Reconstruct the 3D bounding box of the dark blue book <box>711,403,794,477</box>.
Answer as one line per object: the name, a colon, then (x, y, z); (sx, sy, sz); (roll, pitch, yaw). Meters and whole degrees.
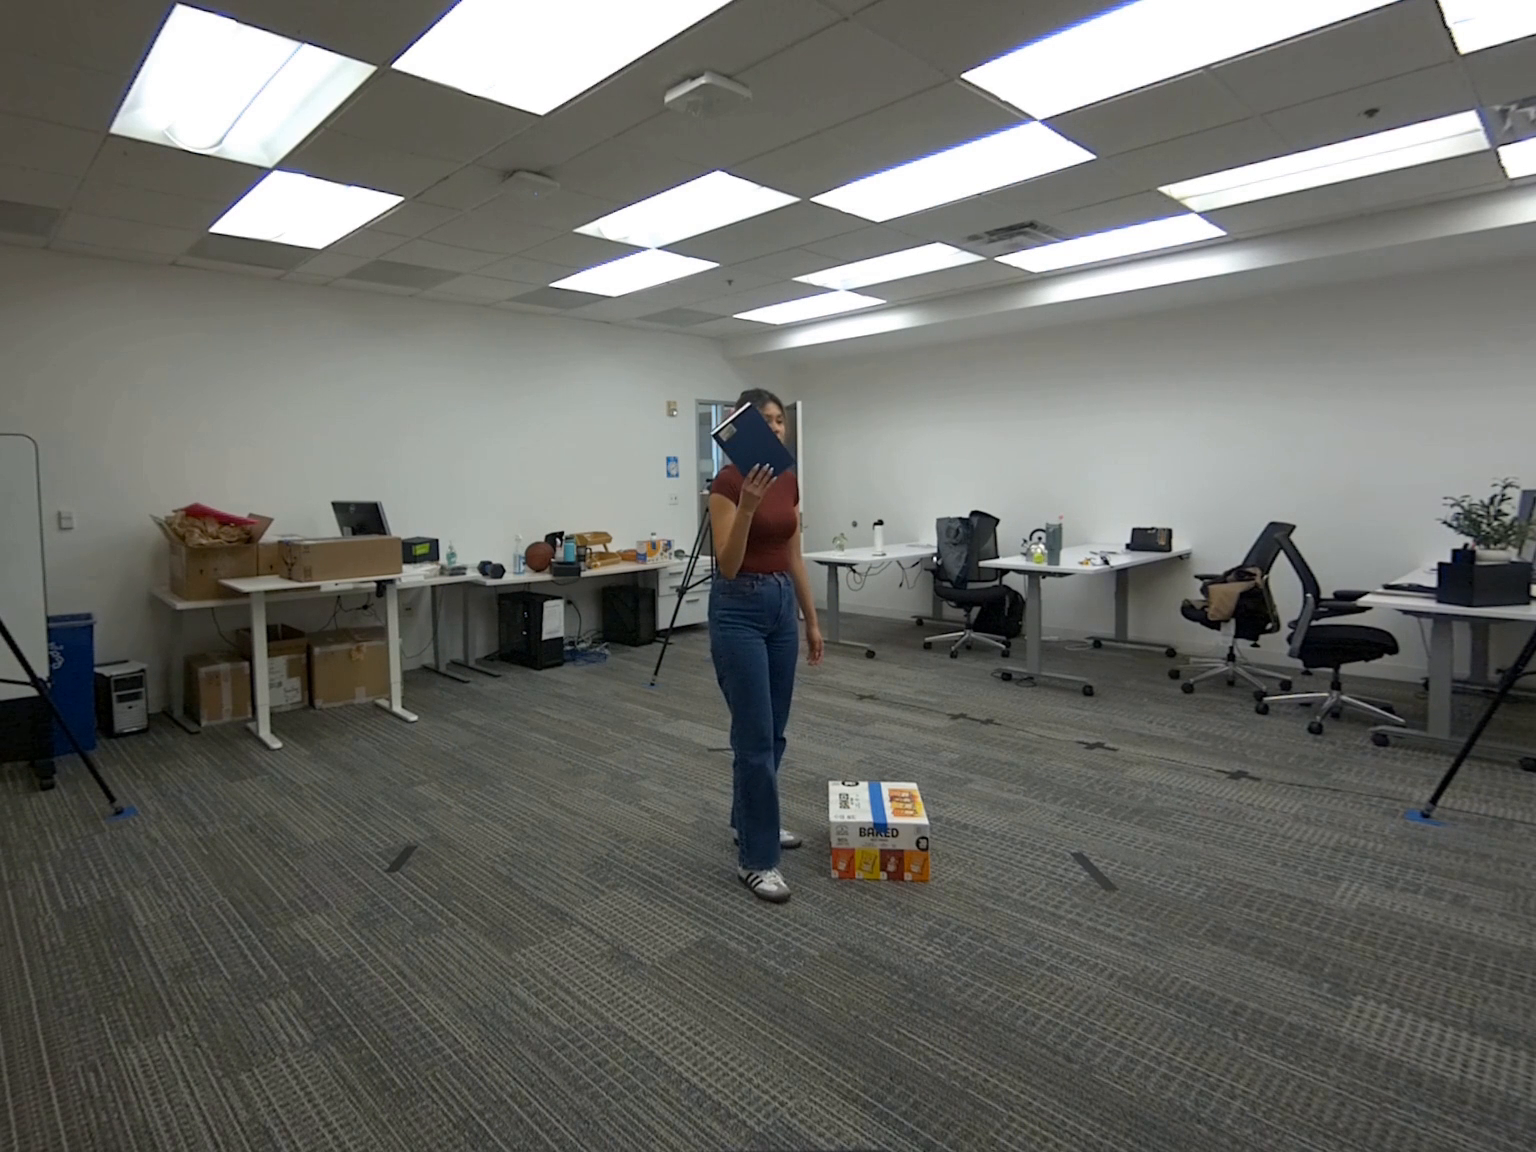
dark blue book: (-0.047, -0.406, 2.699); (0.163, 0.239, 0.046); (-38, 21, 2)
